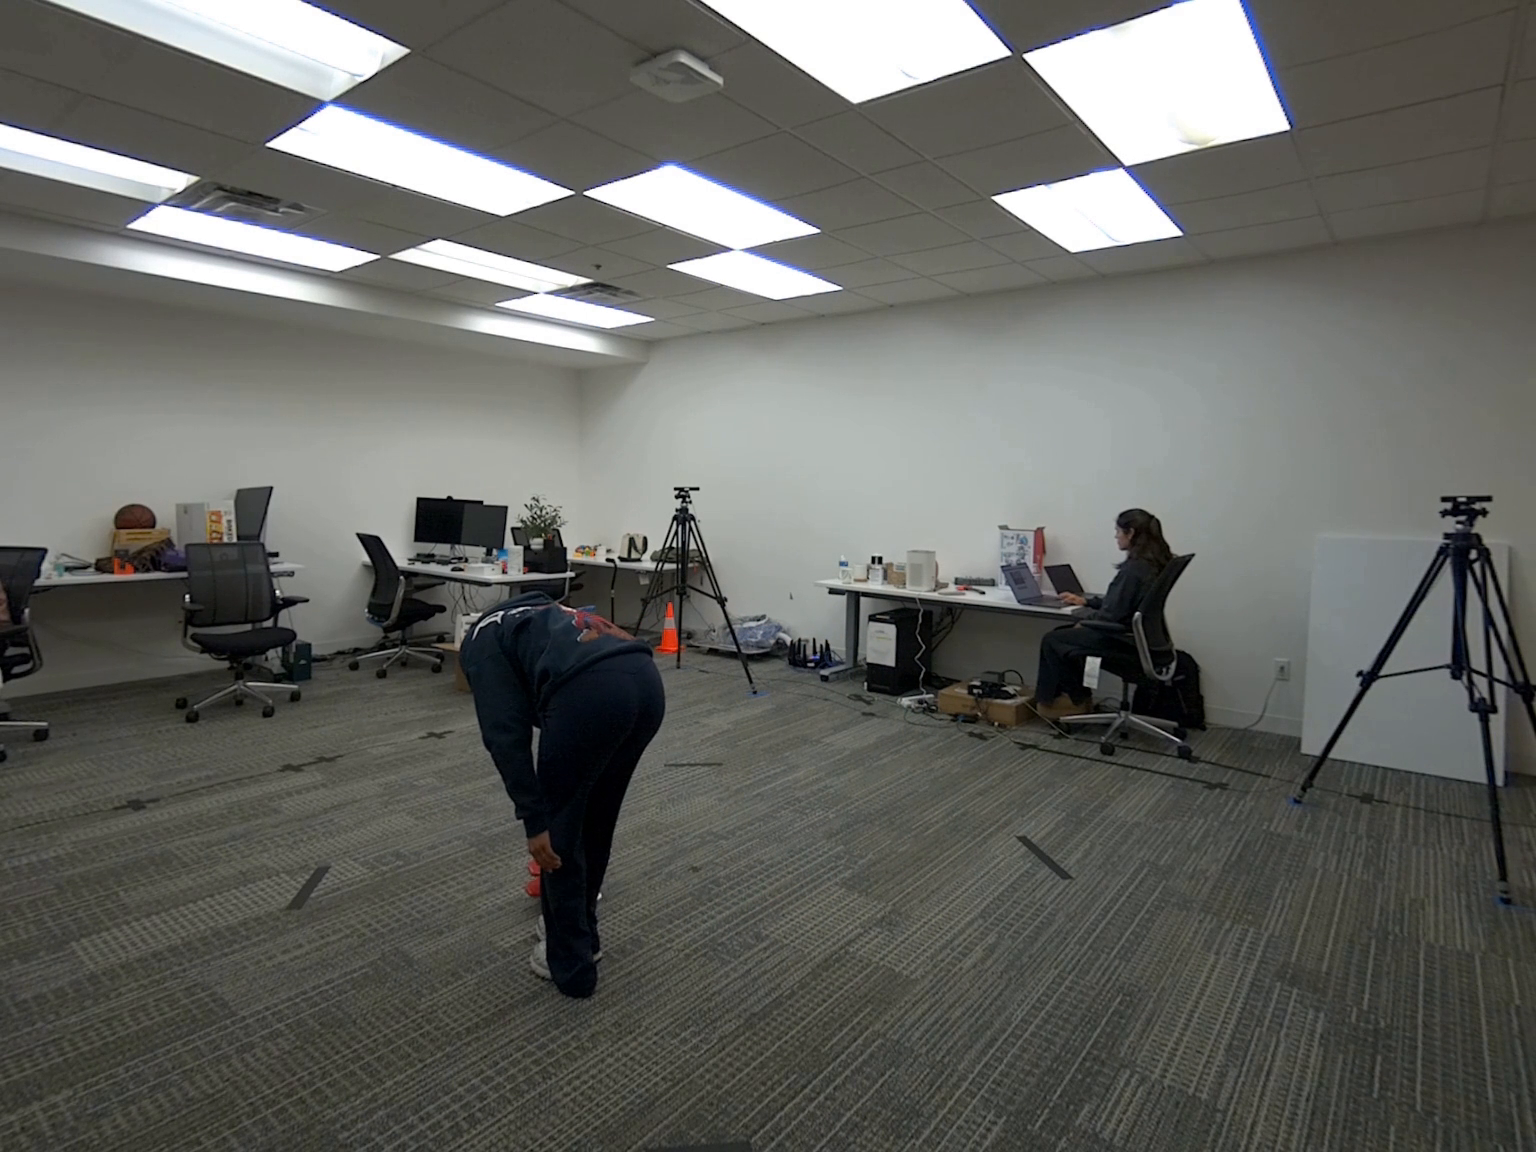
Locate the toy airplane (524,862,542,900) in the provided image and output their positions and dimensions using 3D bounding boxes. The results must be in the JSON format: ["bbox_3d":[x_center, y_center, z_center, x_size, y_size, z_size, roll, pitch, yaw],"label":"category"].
[{"bbox_3d":[-0.664,1.009,2.833,0.265,0.156,0.246,0,5,22],"label":"toy airplane"}]
